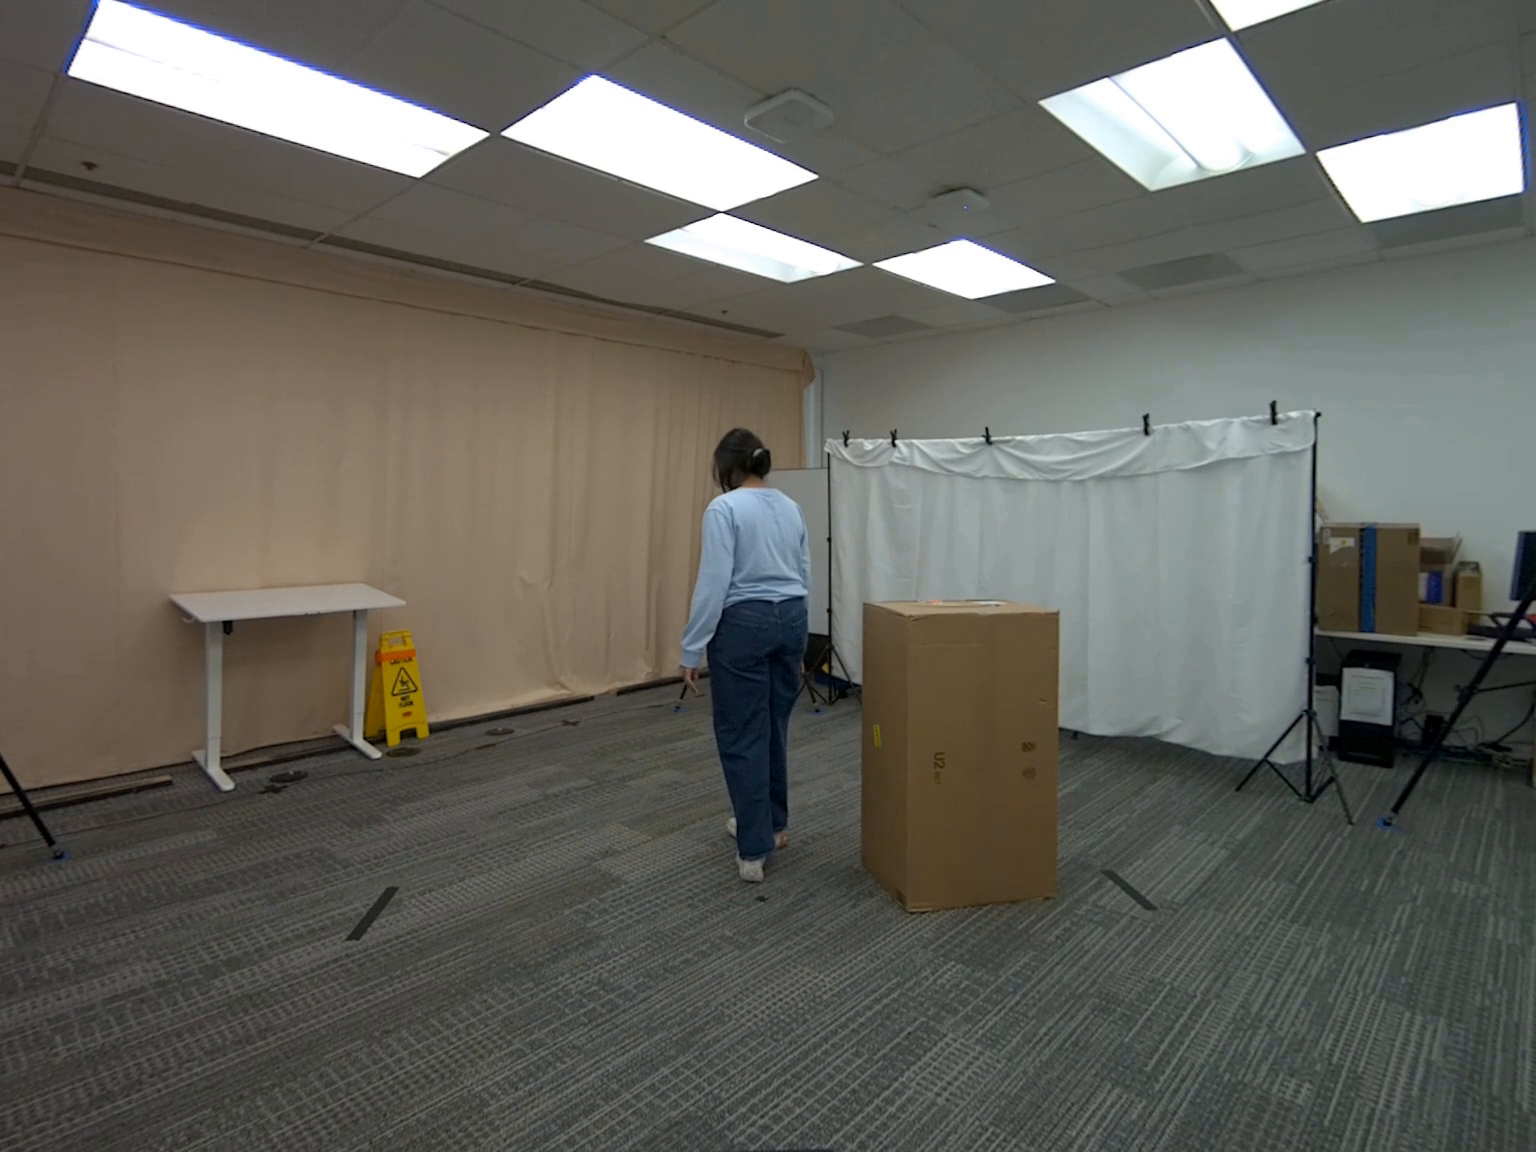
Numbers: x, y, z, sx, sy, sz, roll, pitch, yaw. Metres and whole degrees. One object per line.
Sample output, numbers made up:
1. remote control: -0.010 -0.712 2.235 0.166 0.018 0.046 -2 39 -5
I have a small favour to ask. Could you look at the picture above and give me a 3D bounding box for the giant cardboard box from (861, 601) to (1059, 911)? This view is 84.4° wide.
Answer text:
1. giant cardboard box: 0.701 0.621 3.112 0.576 1.025 0.453 0 2 -13
